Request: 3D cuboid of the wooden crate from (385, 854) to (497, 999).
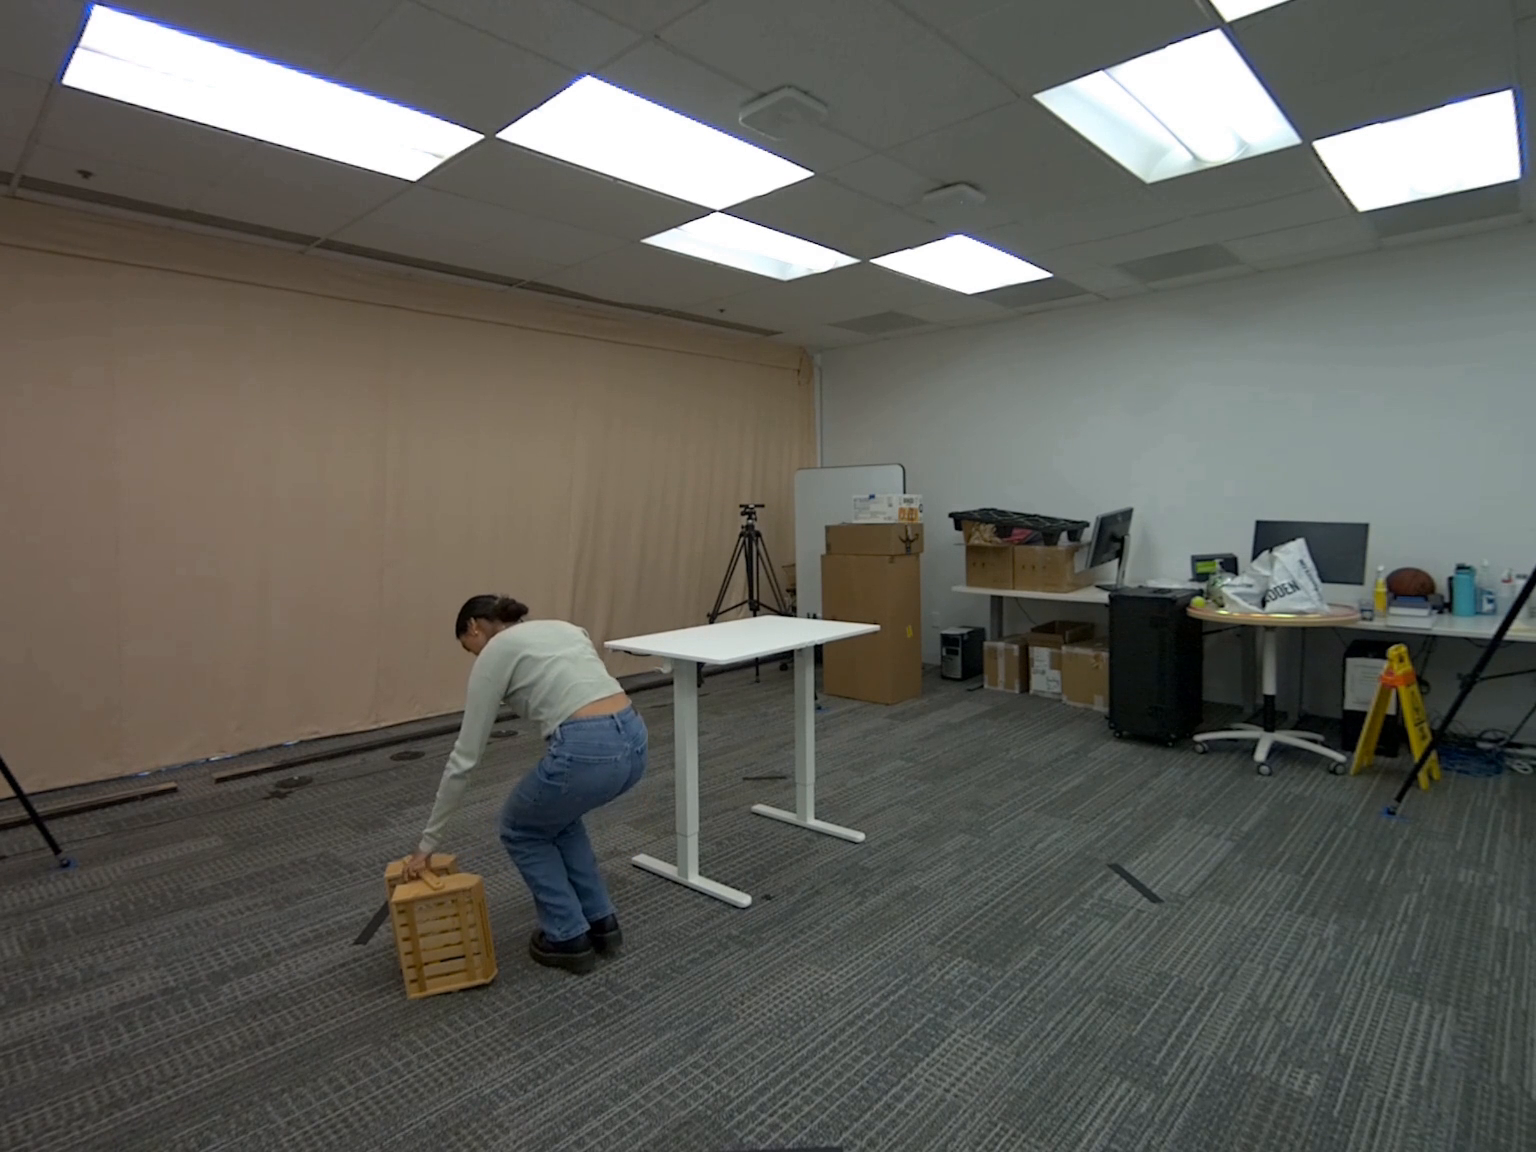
[{"bbox_3d":[-0.986,1.035,2.527,0.298,0.322,0.278,-8,9,-12],"label":"wooden crate"}]
